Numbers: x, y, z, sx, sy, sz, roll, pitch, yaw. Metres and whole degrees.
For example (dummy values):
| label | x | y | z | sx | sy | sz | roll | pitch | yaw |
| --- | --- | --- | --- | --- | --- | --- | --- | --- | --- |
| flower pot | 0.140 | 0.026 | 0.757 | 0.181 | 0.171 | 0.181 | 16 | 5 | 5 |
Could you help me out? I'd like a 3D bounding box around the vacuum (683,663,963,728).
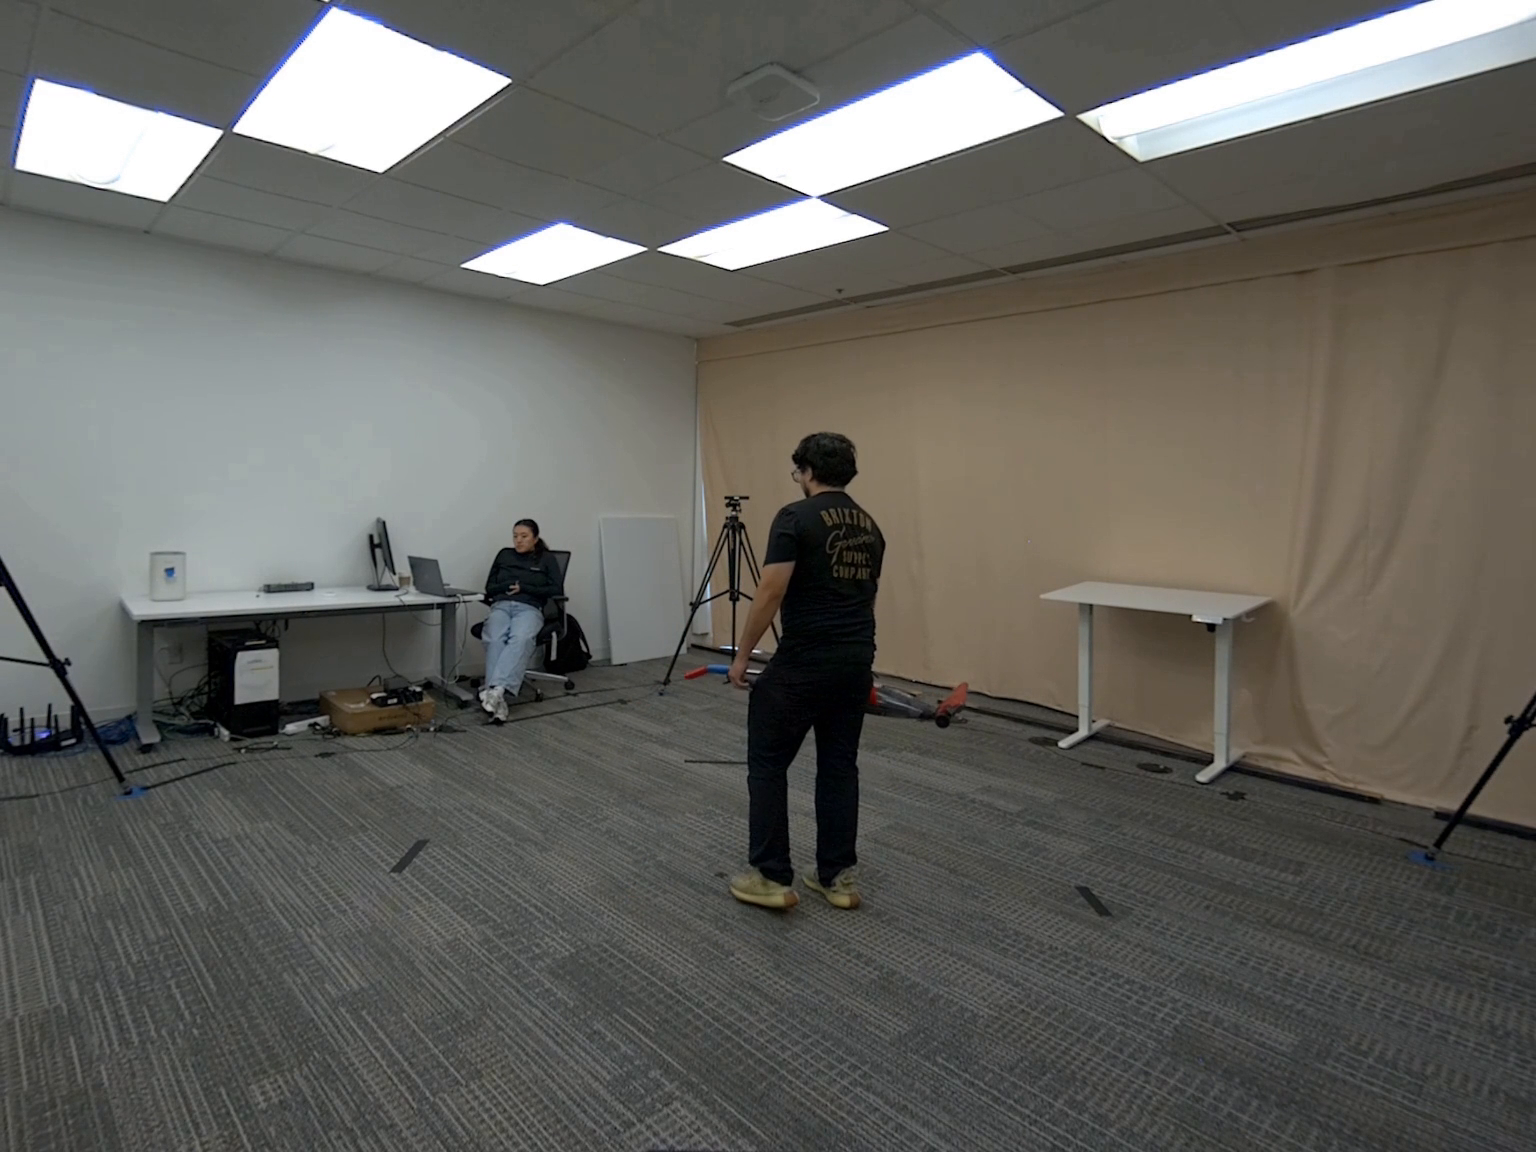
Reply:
| label | x | y | z | sx | sy | sz | roll | pitch | yaw |
| --- | --- | --- | --- | --- | --- | --- | --- | --- | --- |
| vacuum | 0.169 | 0.445 | 3.253 | 1.063 | 0.143 | 0.251 | 5 | 9 | 16 |
